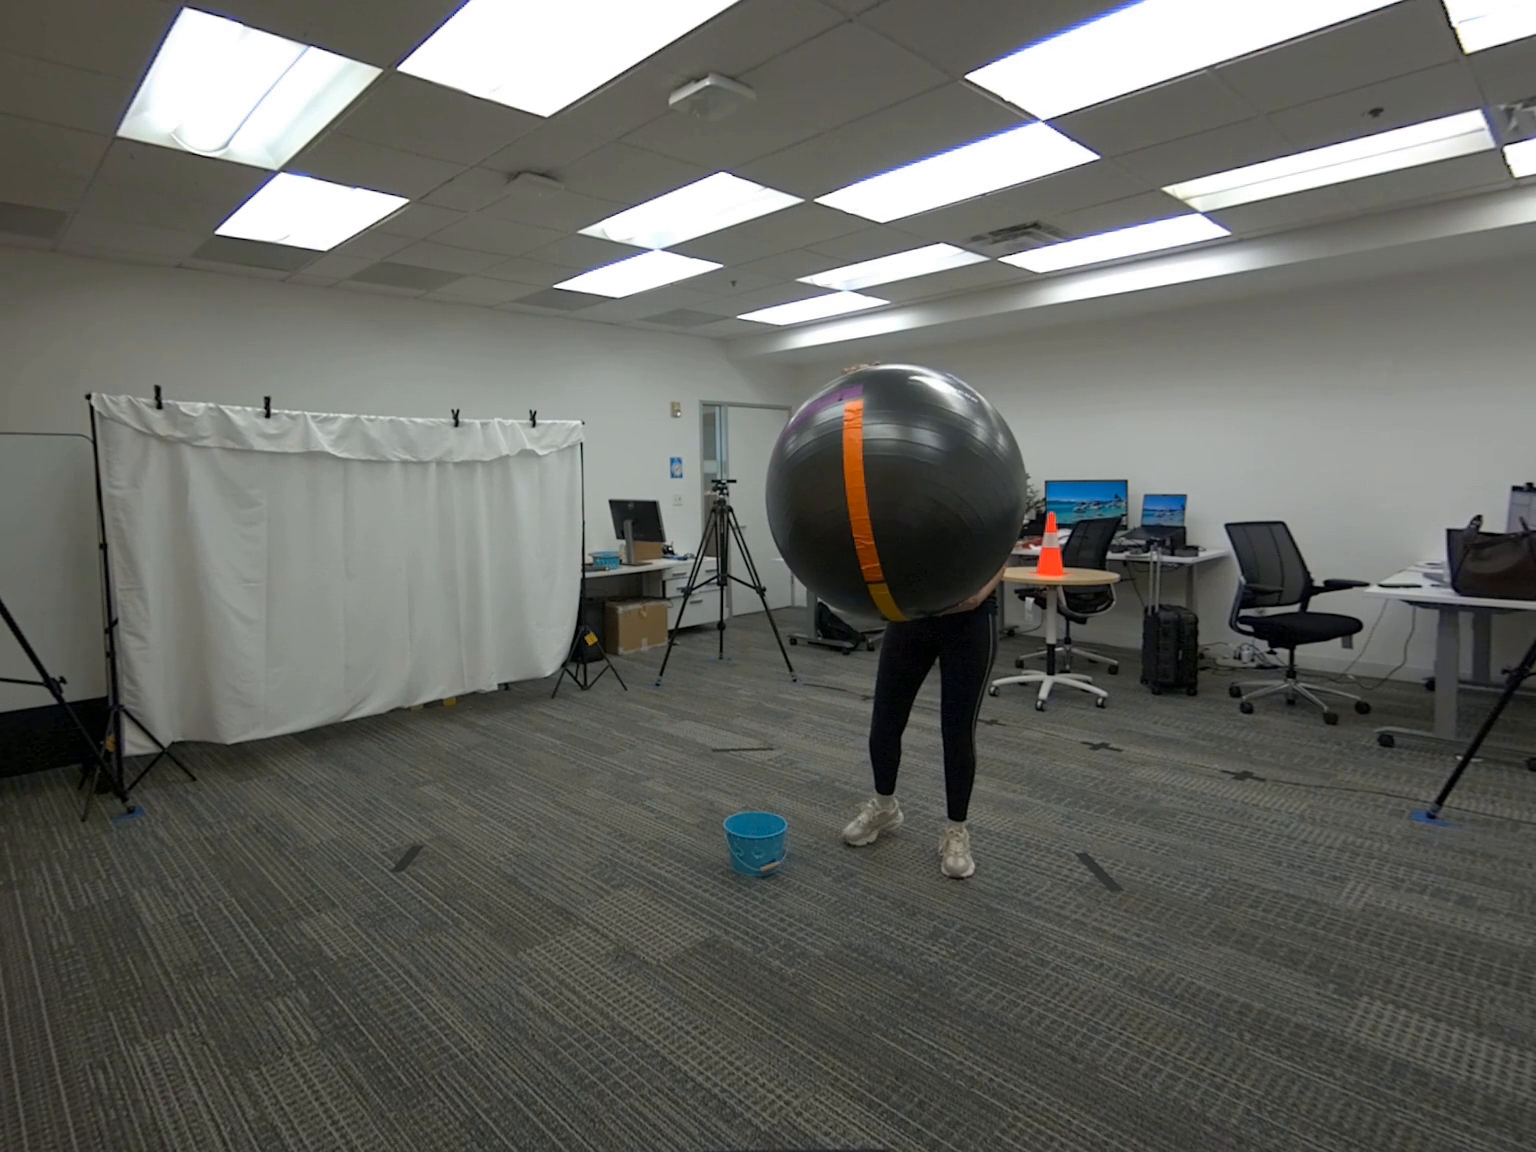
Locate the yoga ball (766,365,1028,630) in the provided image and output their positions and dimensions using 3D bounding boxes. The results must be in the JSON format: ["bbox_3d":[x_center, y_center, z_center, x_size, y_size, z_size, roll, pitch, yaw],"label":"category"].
[{"bbox_3d":[0.373,-0.236,2.535,0.757,0.755,0.762,-1,5,-2],"label":"yoga ball"}]
